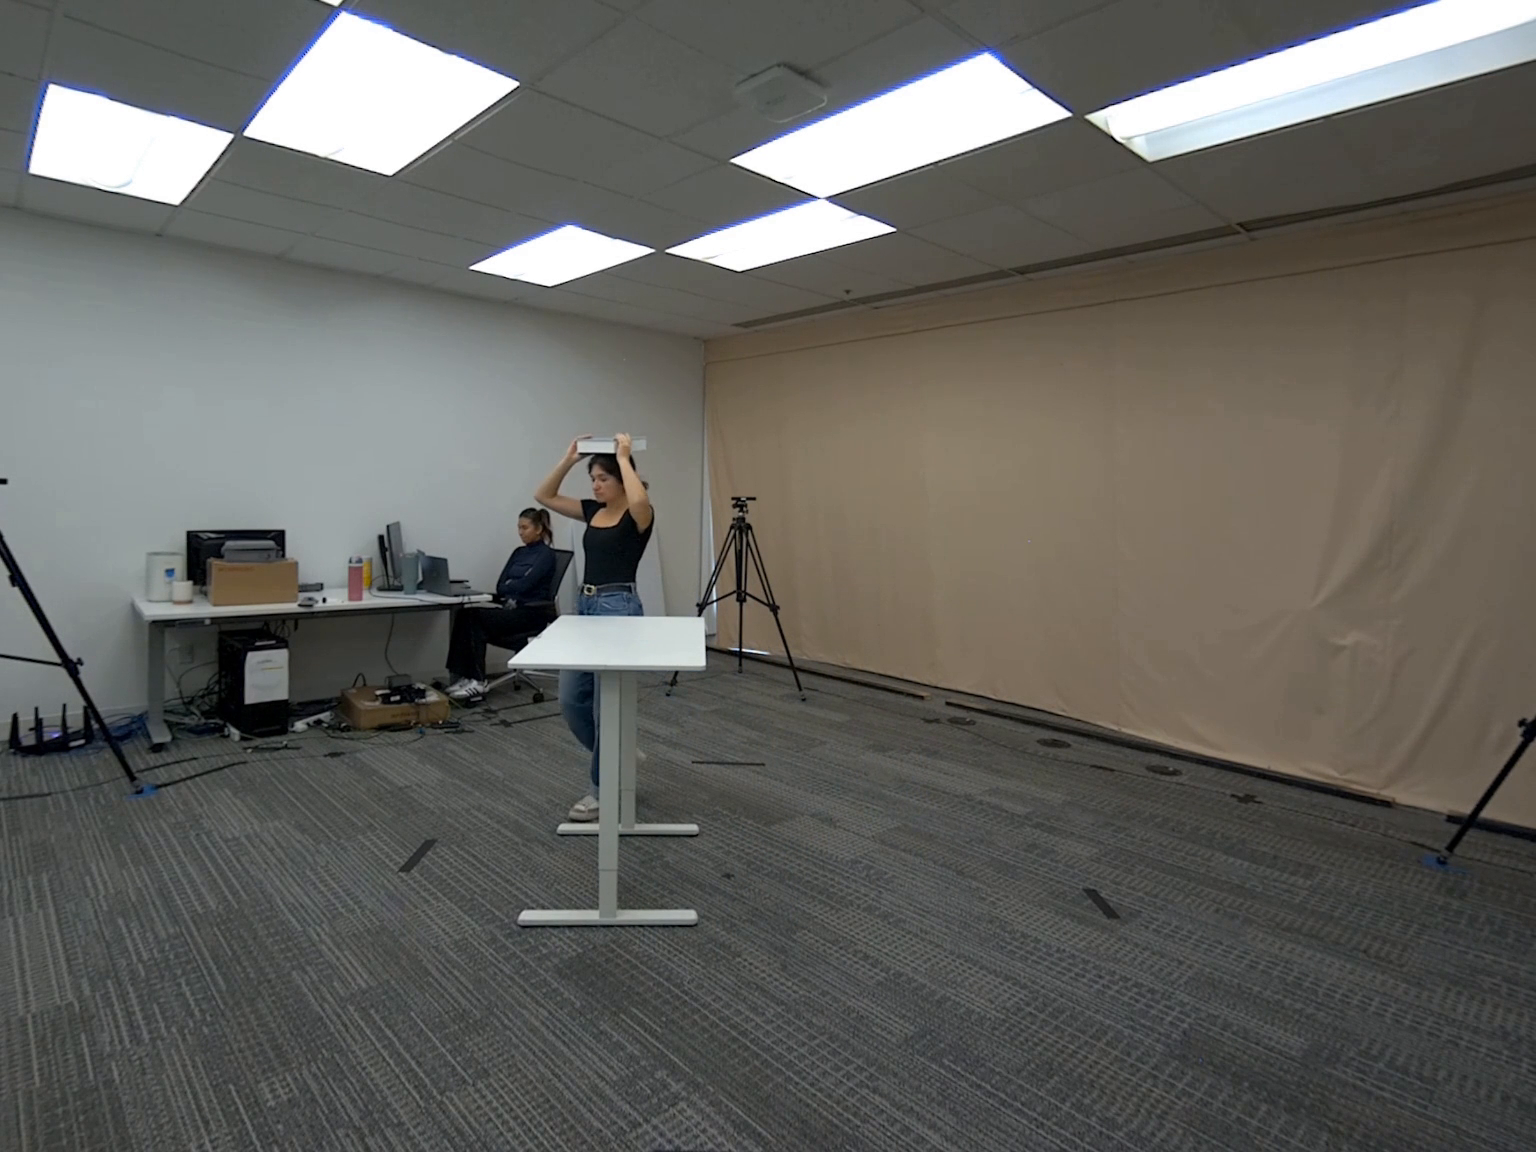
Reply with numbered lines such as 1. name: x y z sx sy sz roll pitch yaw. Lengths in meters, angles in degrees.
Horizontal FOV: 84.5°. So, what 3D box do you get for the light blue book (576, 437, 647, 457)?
1. light blue book: -0.694 -0.573 3.653 0.267 0.058 0.188 7 13 35
